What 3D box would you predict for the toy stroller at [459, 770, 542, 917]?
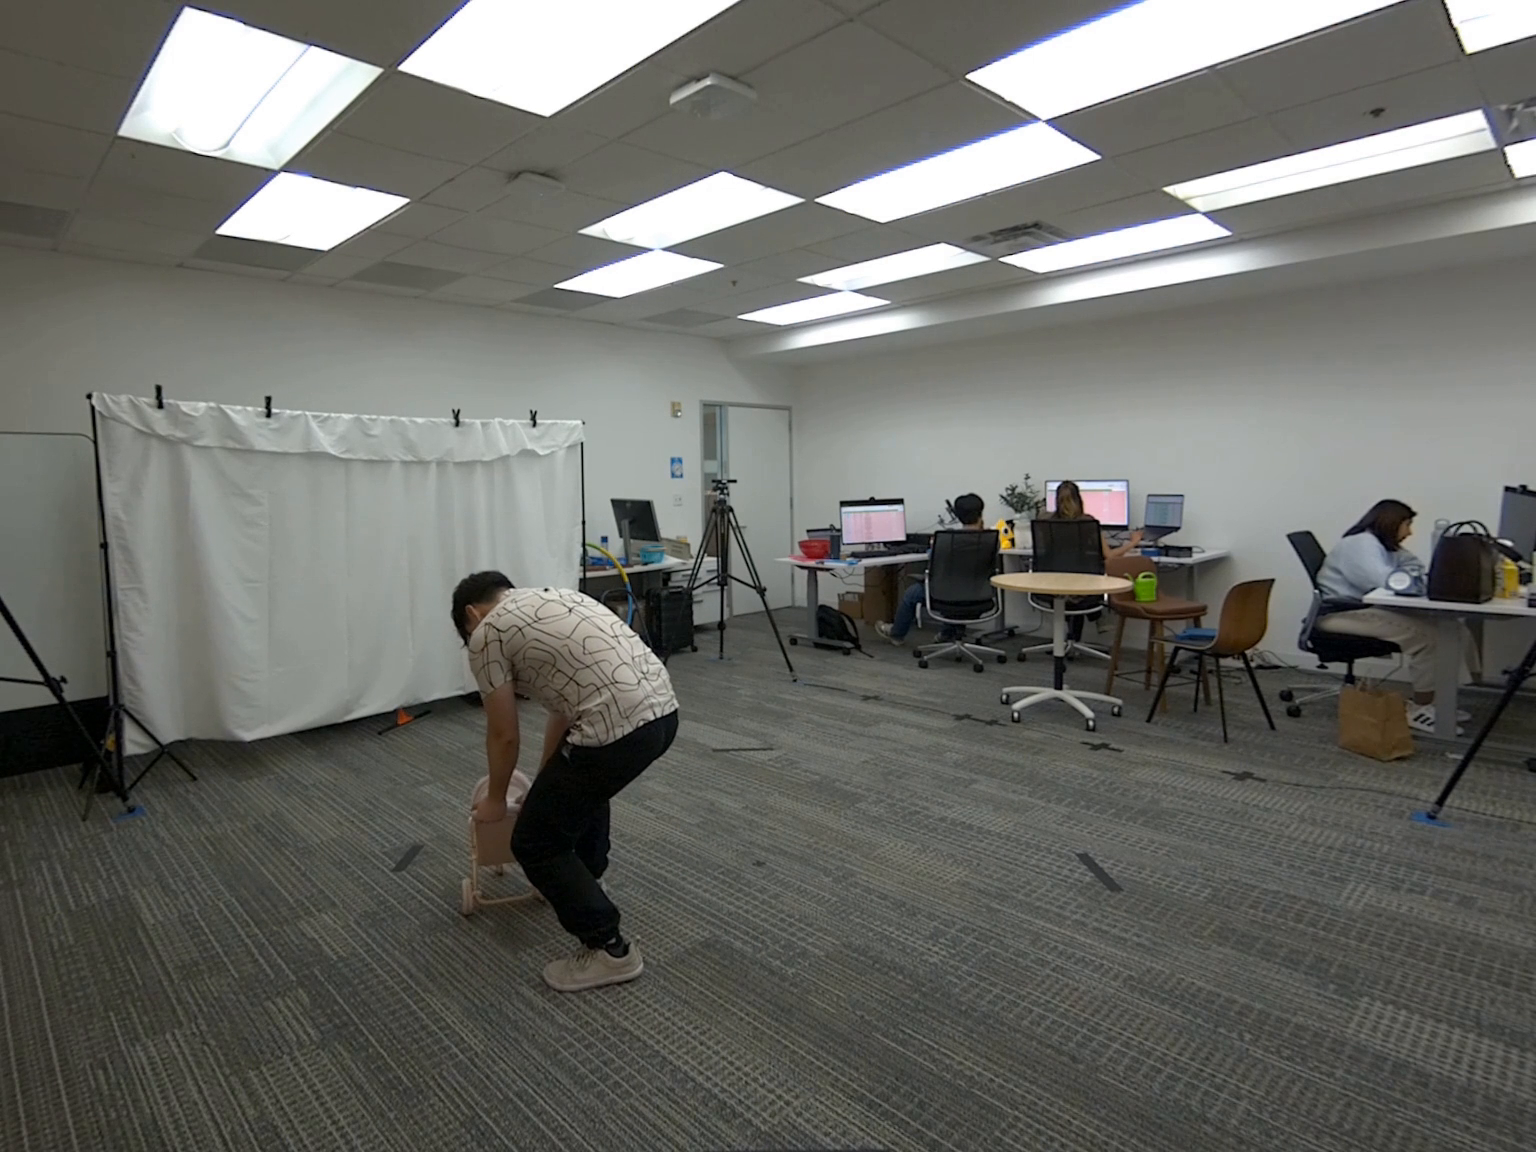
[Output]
[{"bbox_3d":[-0.879,0.868,2.871,0.277,0.525,0.352,-1,25,-15],"label":"toy stroller"}]
